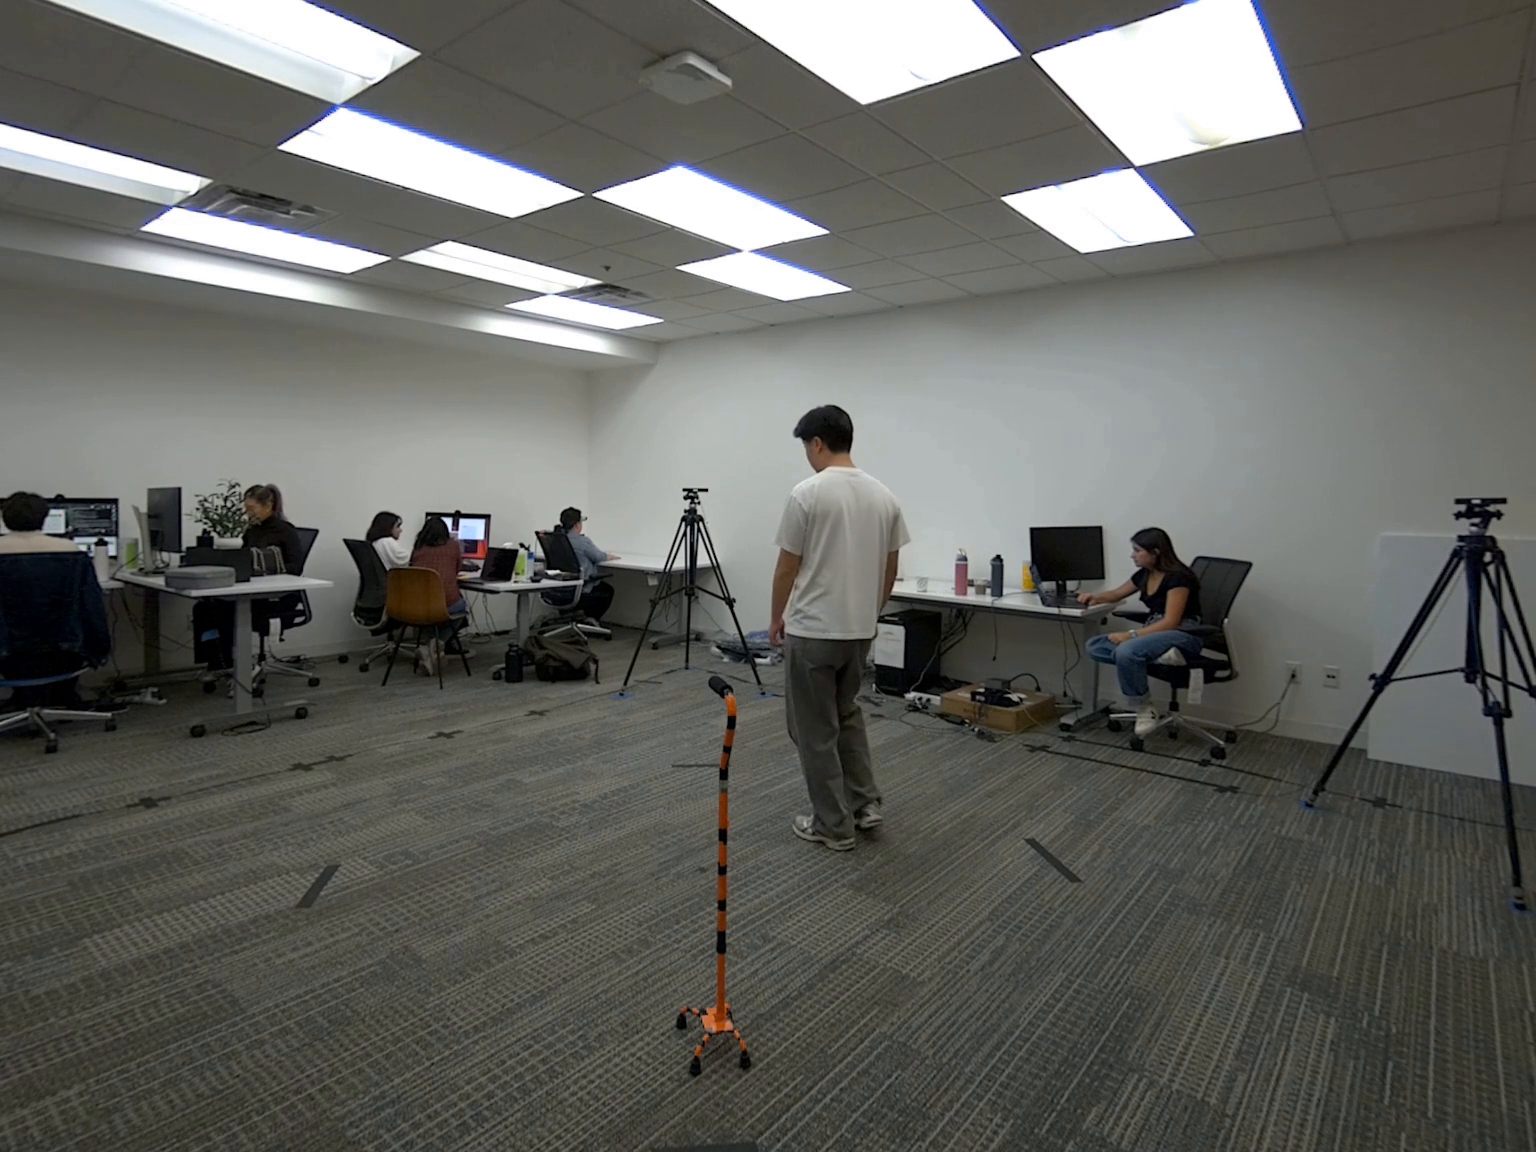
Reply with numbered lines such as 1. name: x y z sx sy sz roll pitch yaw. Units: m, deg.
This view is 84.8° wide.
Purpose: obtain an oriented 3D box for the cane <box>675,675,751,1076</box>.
1. cane: -0.127 0.713 2.106 0.149 0.905 0.210 1 3 -16
